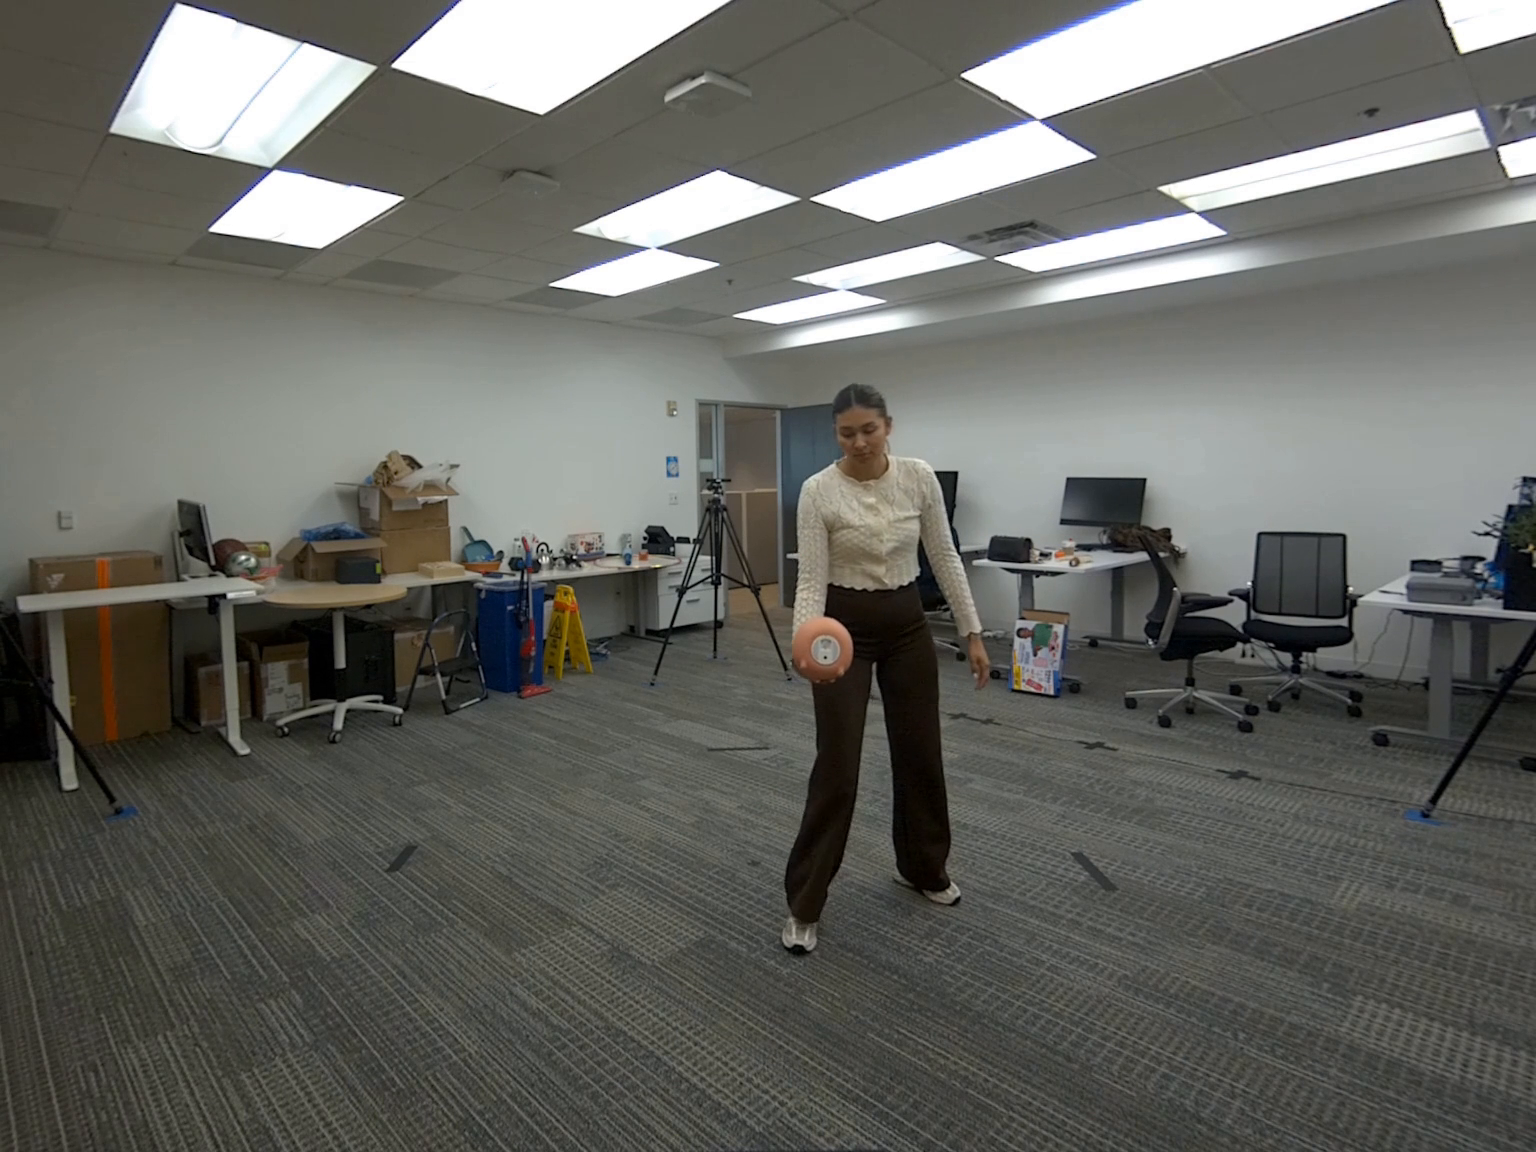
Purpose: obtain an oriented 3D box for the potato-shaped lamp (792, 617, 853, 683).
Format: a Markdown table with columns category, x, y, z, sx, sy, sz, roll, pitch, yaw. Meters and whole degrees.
| category | x | y | z | sx | sy | sz | roll | pitch | yaw |
| --- | --- | --- | --- | --- | --- | --- | --- | --- | --- |
| potato-shaped lamp | 0.143 | 0.206 | 2.377 | 0.164 | 0.173 | 0.197 | 13 | -10 | -4 |
